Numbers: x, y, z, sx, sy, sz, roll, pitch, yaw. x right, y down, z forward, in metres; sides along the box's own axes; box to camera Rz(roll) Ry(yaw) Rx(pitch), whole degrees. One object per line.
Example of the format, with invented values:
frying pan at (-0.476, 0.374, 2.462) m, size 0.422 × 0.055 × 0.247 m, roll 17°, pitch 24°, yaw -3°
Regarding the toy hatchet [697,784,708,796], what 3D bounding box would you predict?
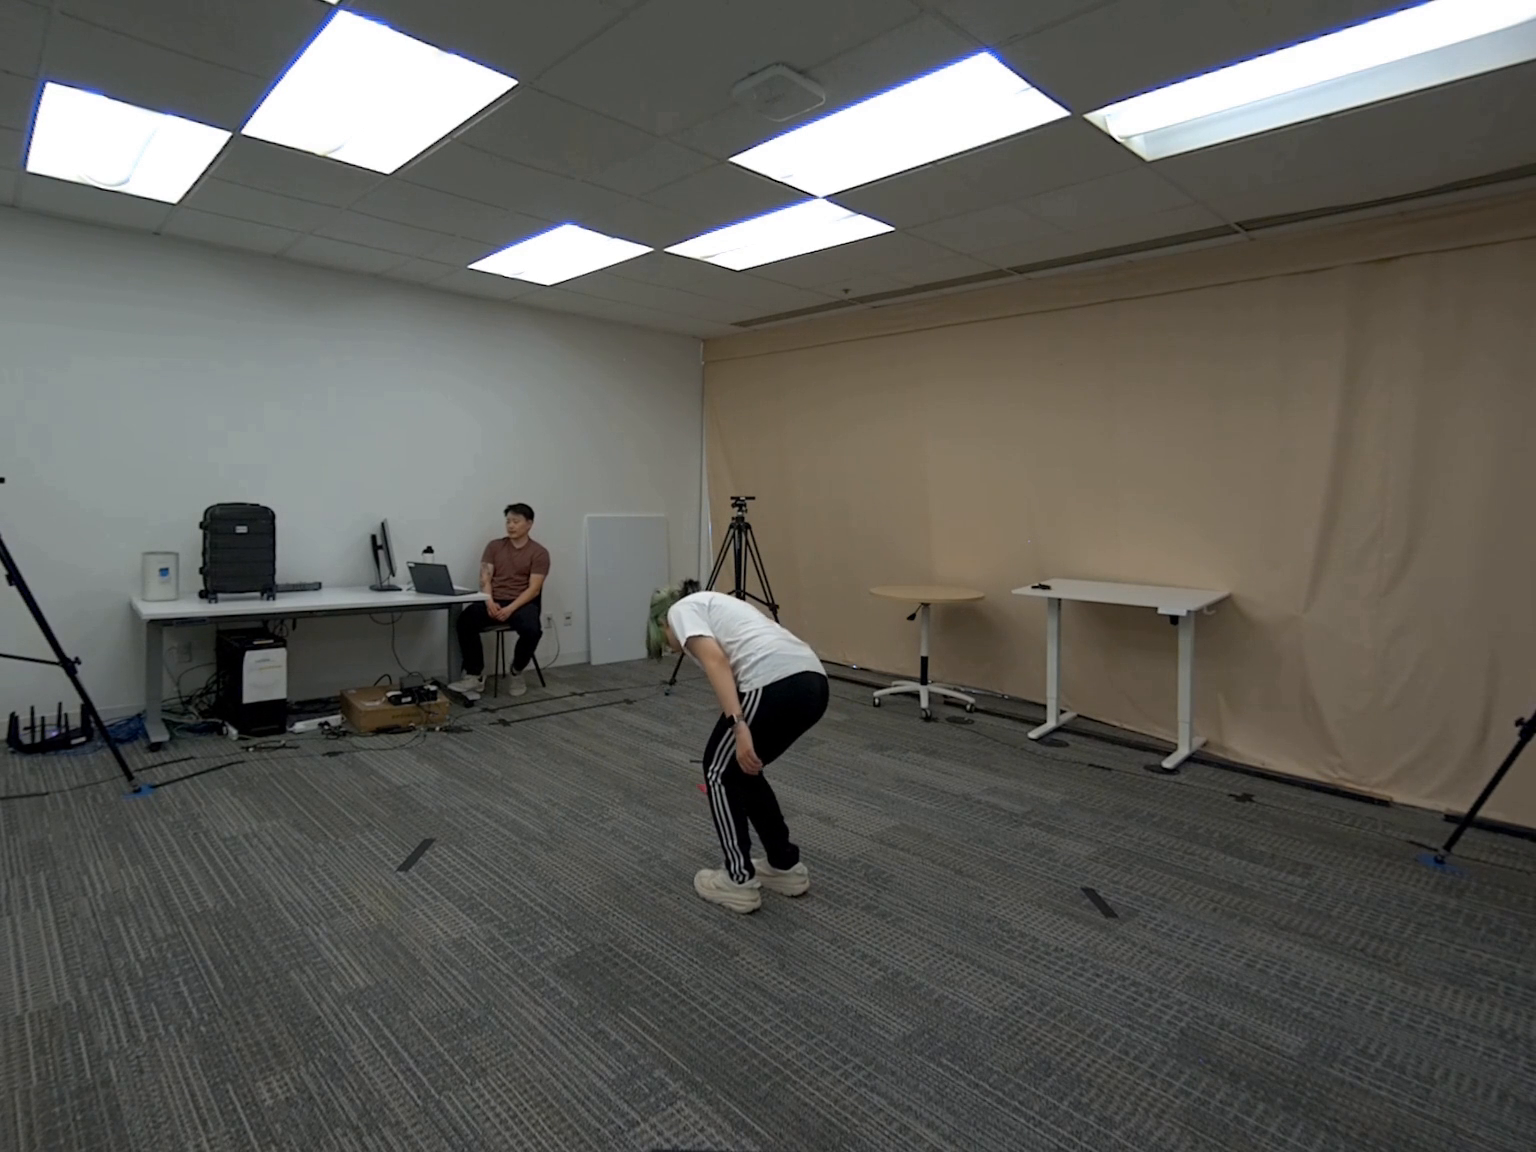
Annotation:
toy hatchet at (-0.175, 0.863, 3.314) m, size 0.276 × 0.030 × 0.127 m, roll -2°, pitch -37°, yaw 50°
